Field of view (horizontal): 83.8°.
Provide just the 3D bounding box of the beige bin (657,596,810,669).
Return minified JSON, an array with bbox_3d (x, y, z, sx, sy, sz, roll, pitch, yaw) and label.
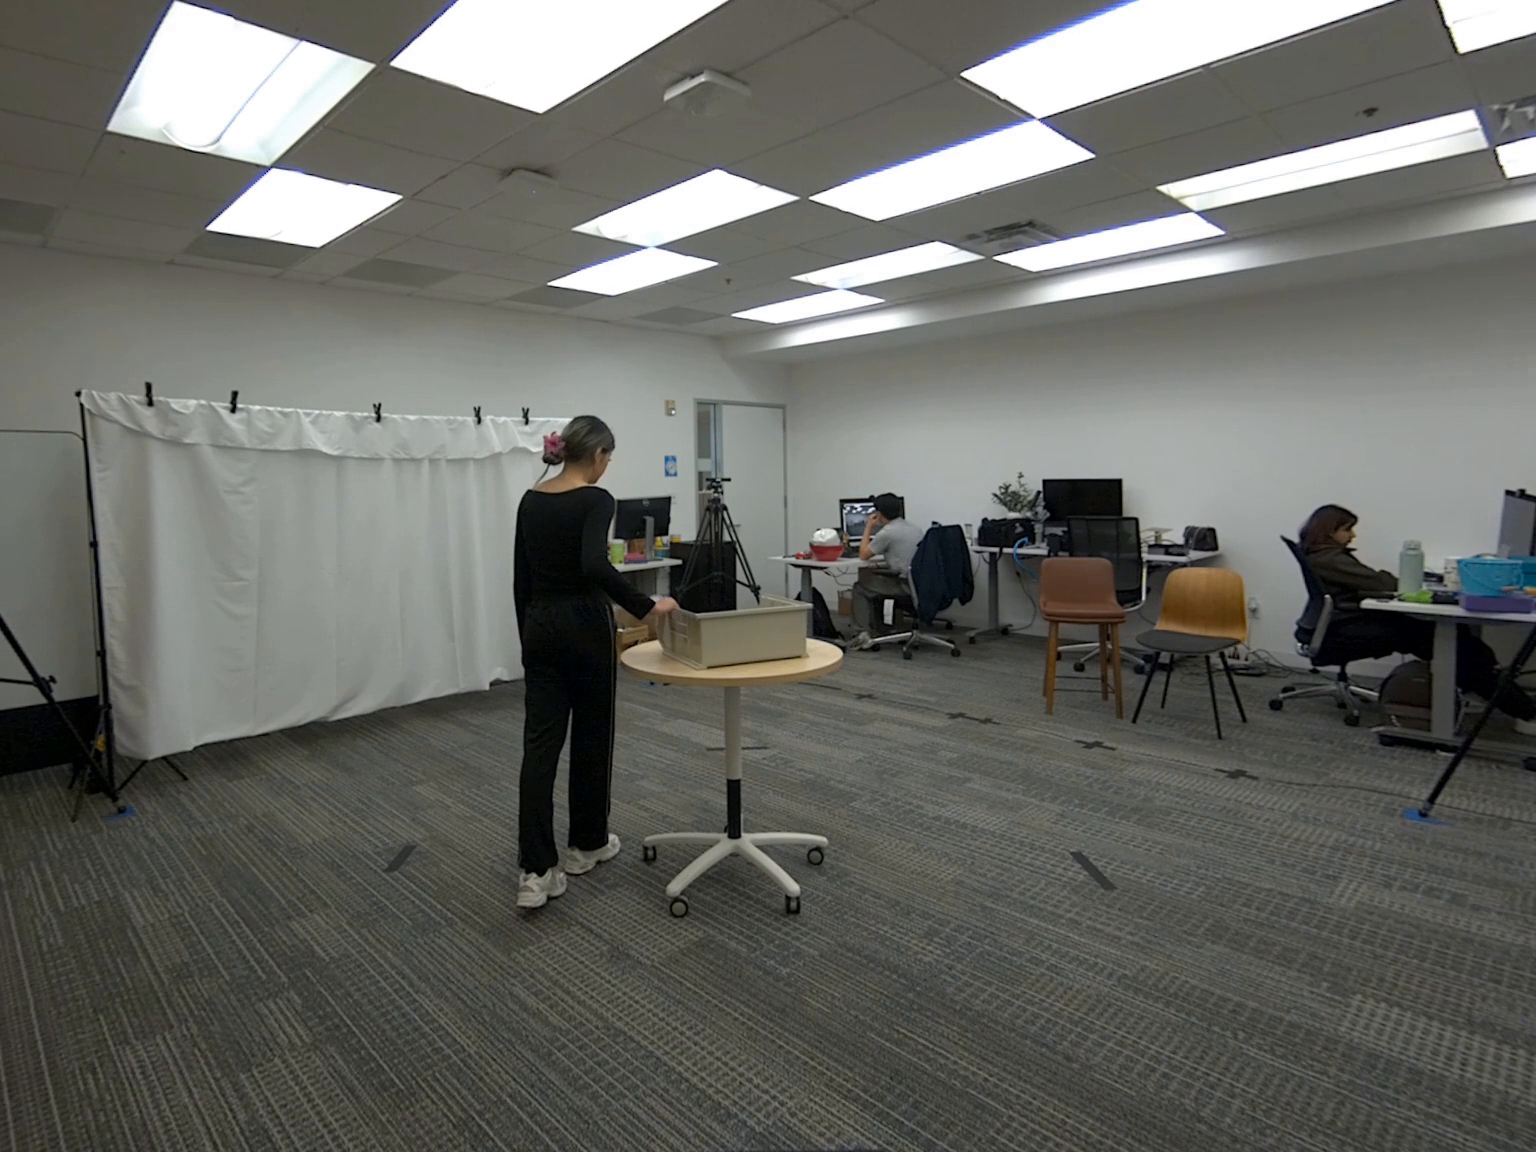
[{"bbox_3d":[-0.124,0.181,2.926,0.413,0.188,0.387,-3,6,-26],"label":"beige bin"}]
